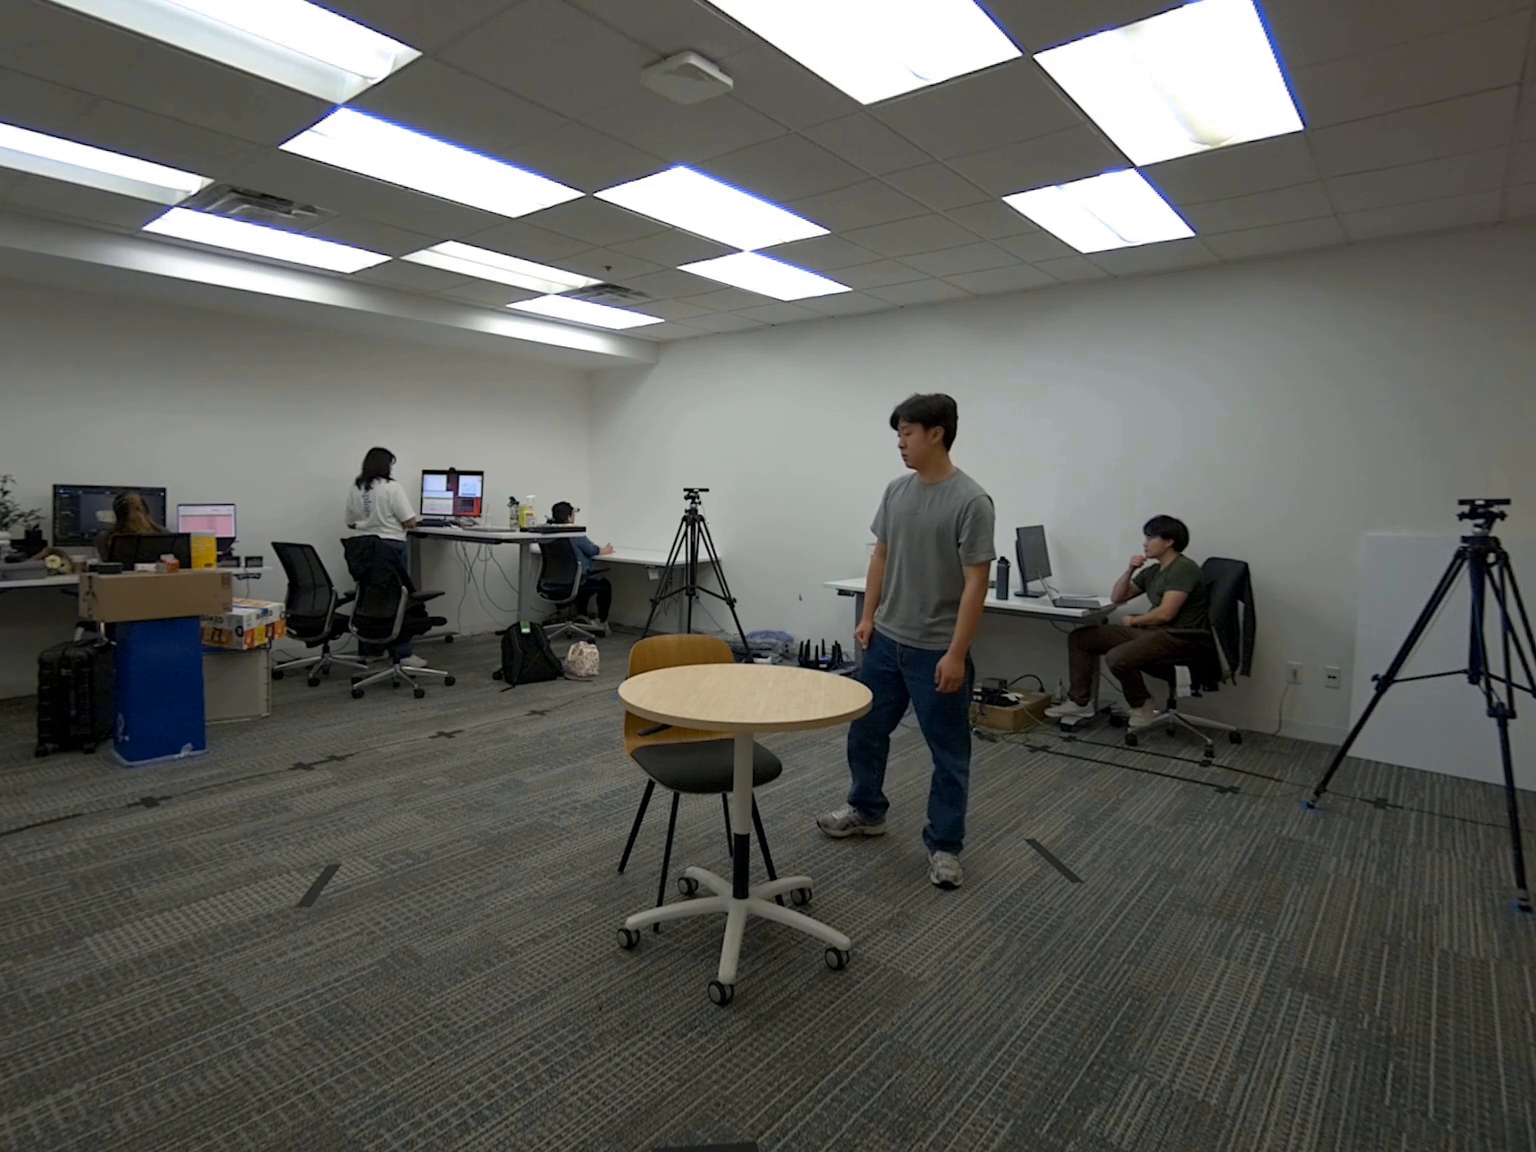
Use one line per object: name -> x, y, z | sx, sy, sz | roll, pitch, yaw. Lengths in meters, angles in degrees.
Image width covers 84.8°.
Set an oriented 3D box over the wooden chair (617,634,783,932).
wooden chair -> -0.245, 0.658, 2.916 | 0.467, 0.879, 0.534 | 0, -1, -24
